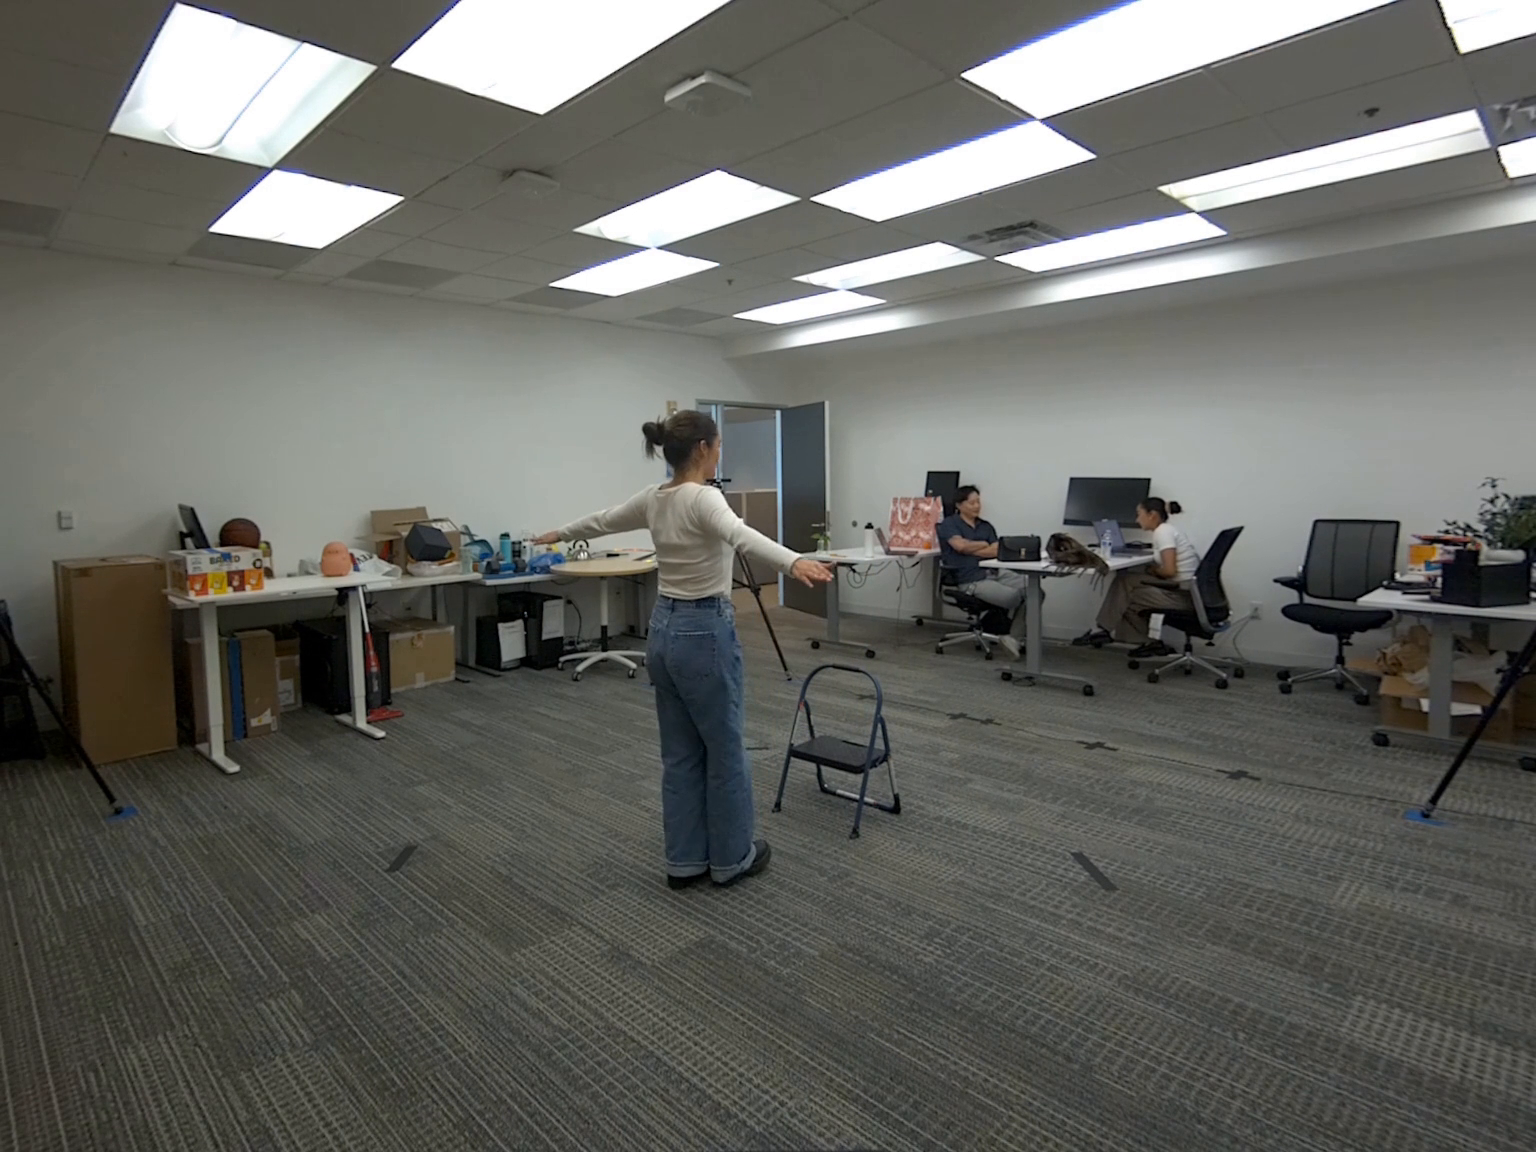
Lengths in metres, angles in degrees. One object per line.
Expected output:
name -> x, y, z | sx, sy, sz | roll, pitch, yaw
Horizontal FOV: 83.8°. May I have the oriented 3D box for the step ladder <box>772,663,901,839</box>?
step ladder -> 0.286, 0.687, 3.551 | 0.444, 0.604, 0.340 | 4, 6, 42
